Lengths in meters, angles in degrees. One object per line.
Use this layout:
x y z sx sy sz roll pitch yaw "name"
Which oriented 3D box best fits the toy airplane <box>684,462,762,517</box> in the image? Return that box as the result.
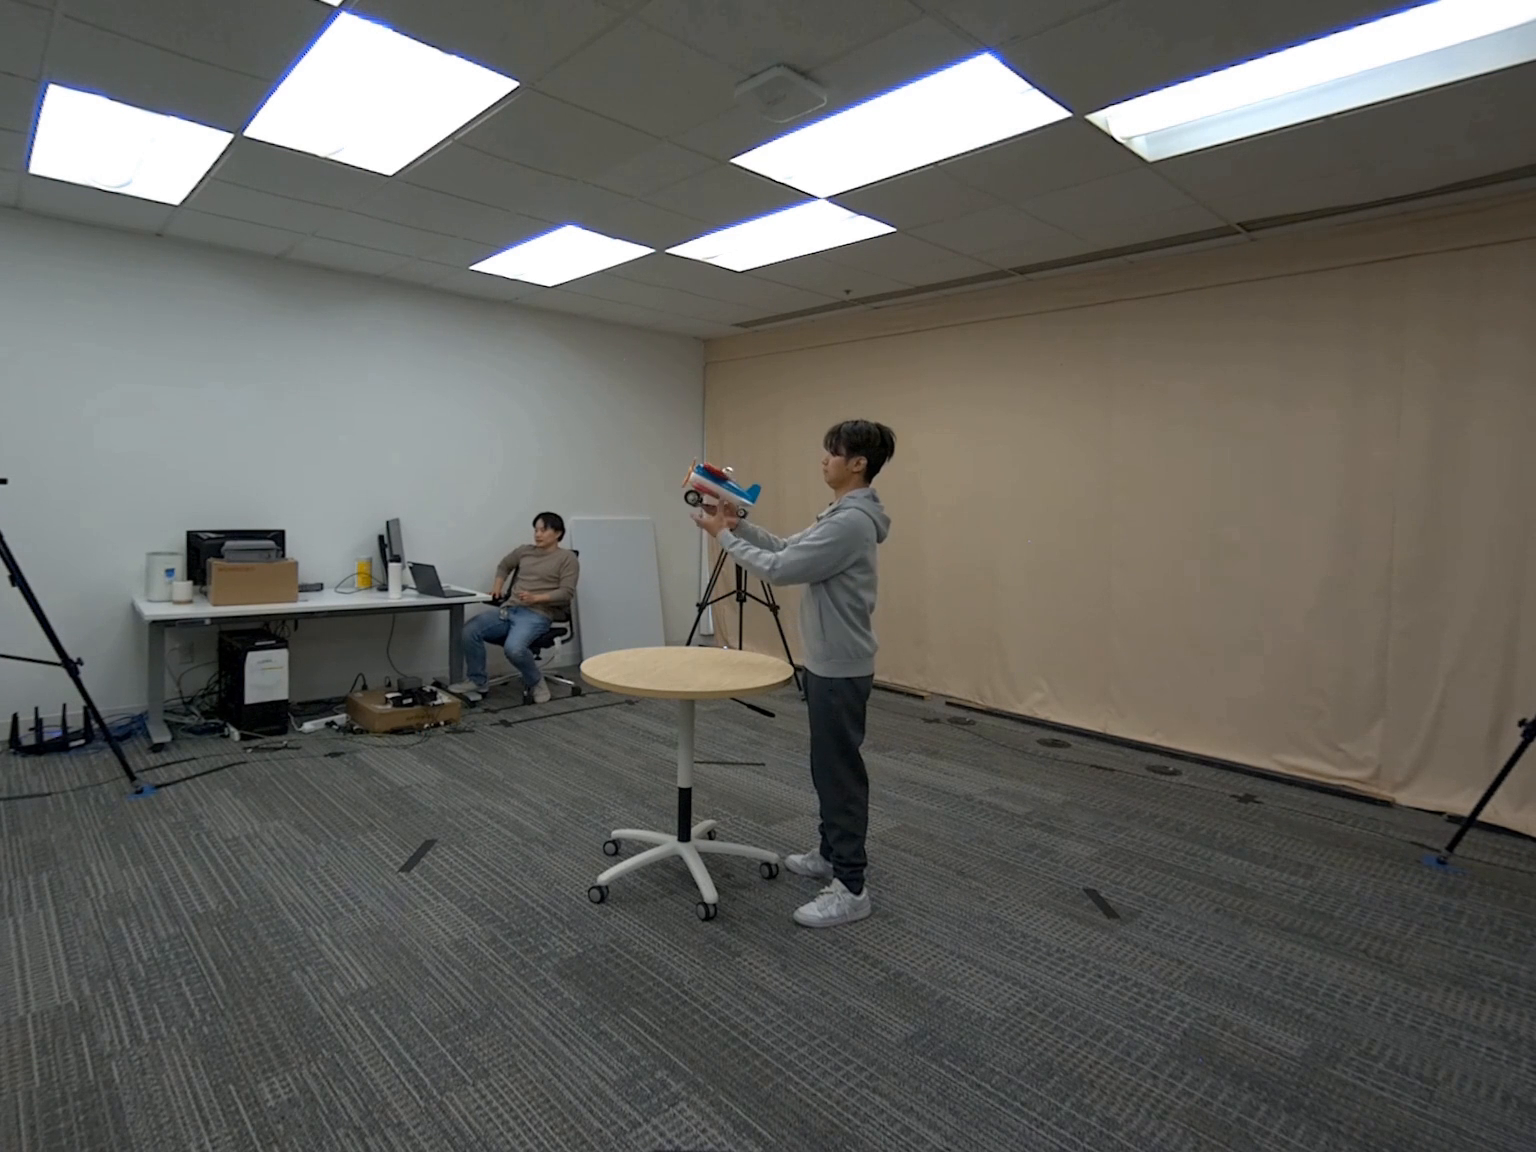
-0.168 -0.252 2.947 0.253 0.156 0.257 14 3 -26 "toy airplane"
